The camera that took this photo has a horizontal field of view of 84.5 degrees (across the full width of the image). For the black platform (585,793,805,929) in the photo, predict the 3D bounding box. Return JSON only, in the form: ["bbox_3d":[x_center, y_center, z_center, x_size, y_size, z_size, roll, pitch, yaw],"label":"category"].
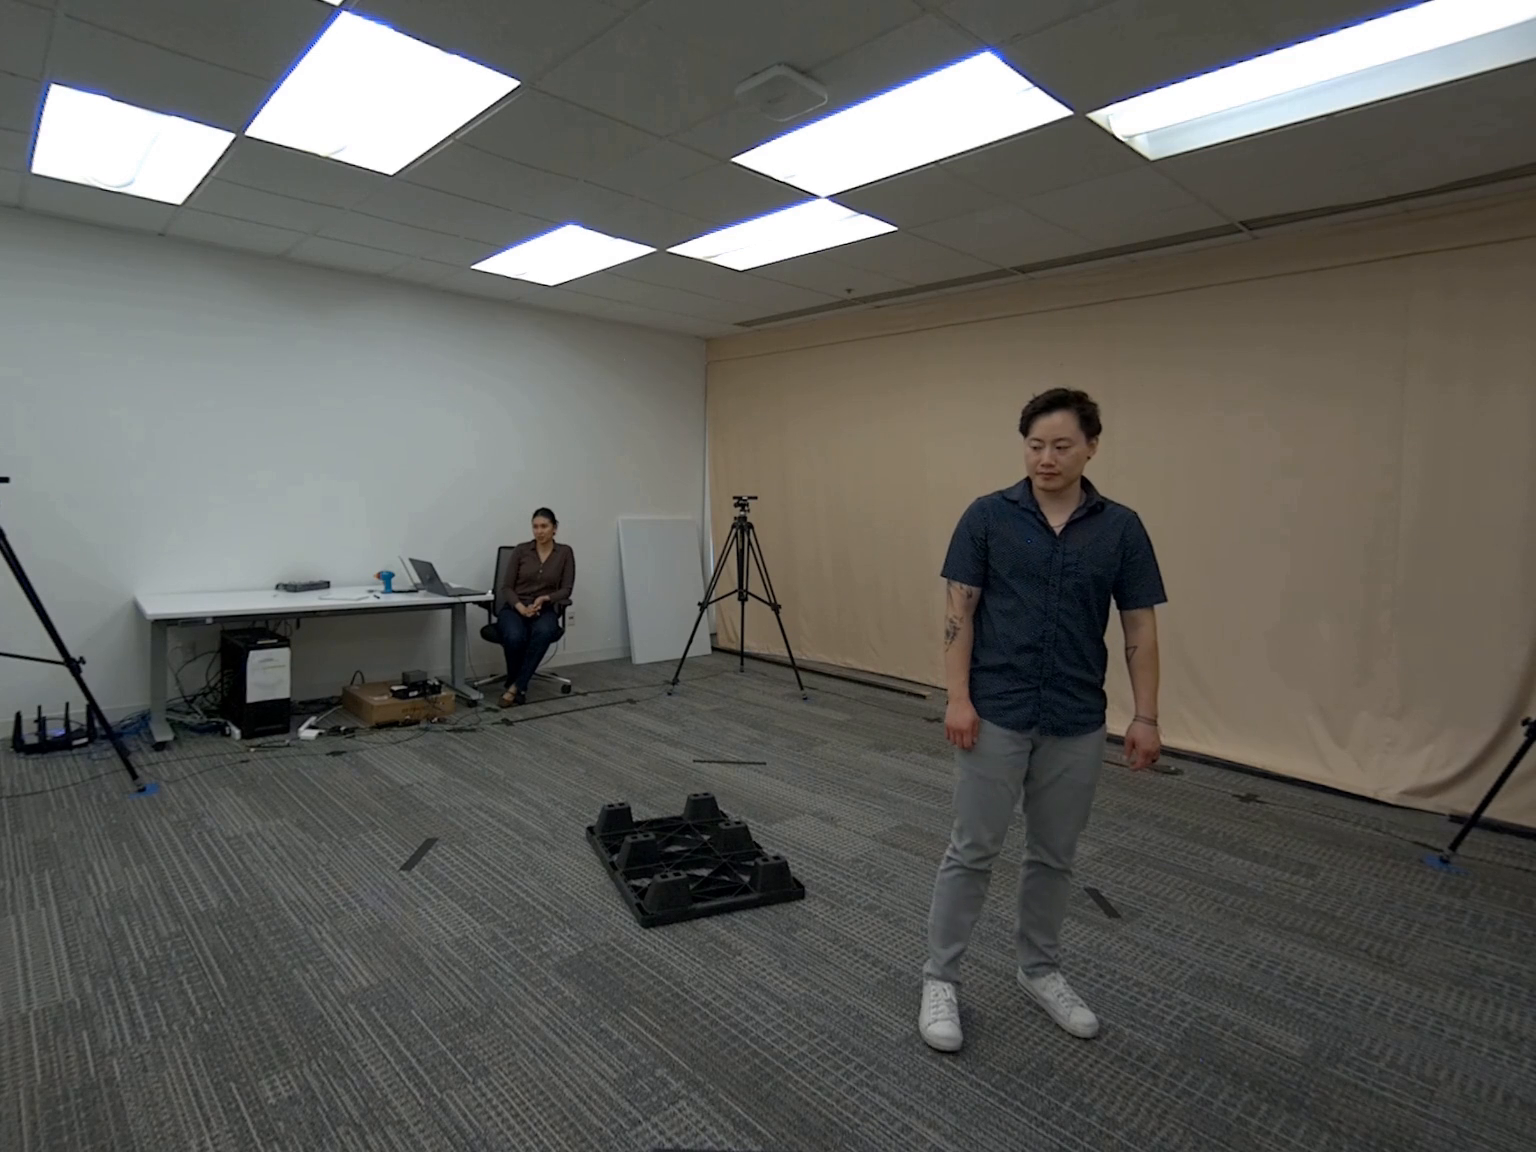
[{"bbox_3d":[-0.303,1.025,3.170,0.594,0.143,0.822,-1,6,-25],"label":"black platform"}]
